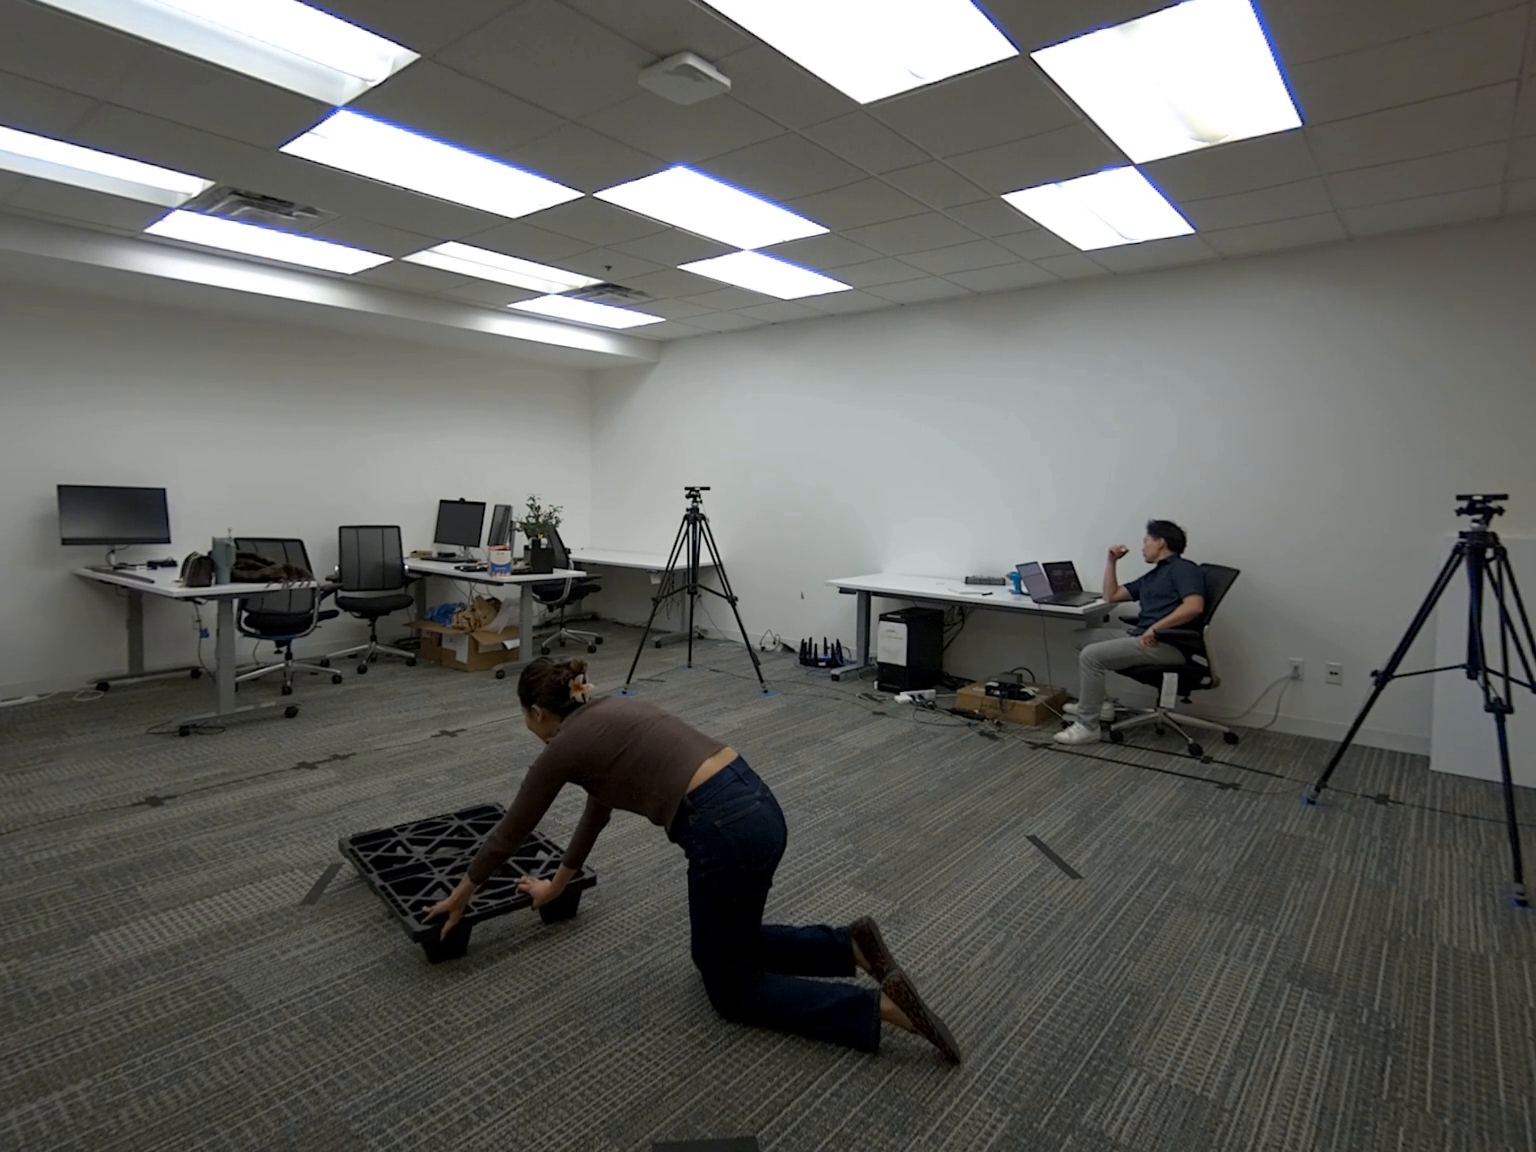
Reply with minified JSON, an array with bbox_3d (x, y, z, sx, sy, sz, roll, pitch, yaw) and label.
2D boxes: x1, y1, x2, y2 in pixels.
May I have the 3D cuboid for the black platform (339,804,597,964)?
[{"bbox_3d":[-1.046,1.012,2.876,0.587,0.143,0.833,-5,8,-41],"label":"black platform"}]
